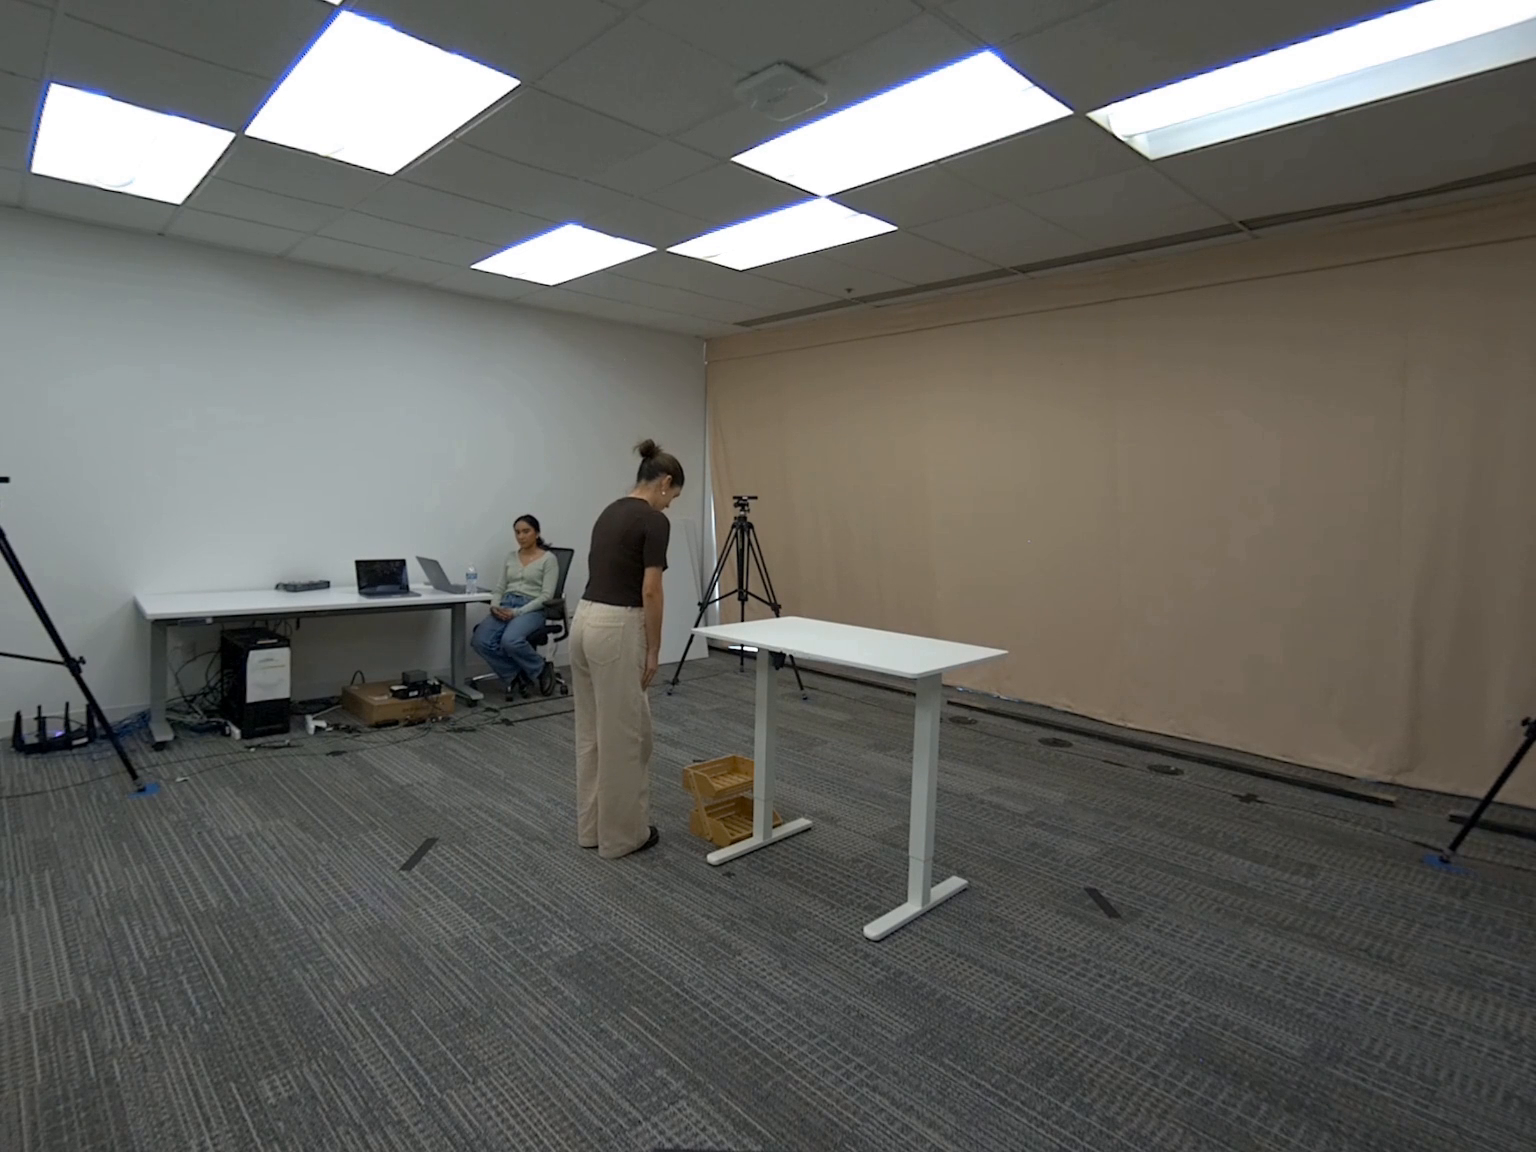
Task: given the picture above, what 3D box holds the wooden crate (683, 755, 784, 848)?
[{"bbox_3d":[-0.151,0.933,3.522,0.309,0.273,0.317,4,4,45],"label":"wooden crate"}]
